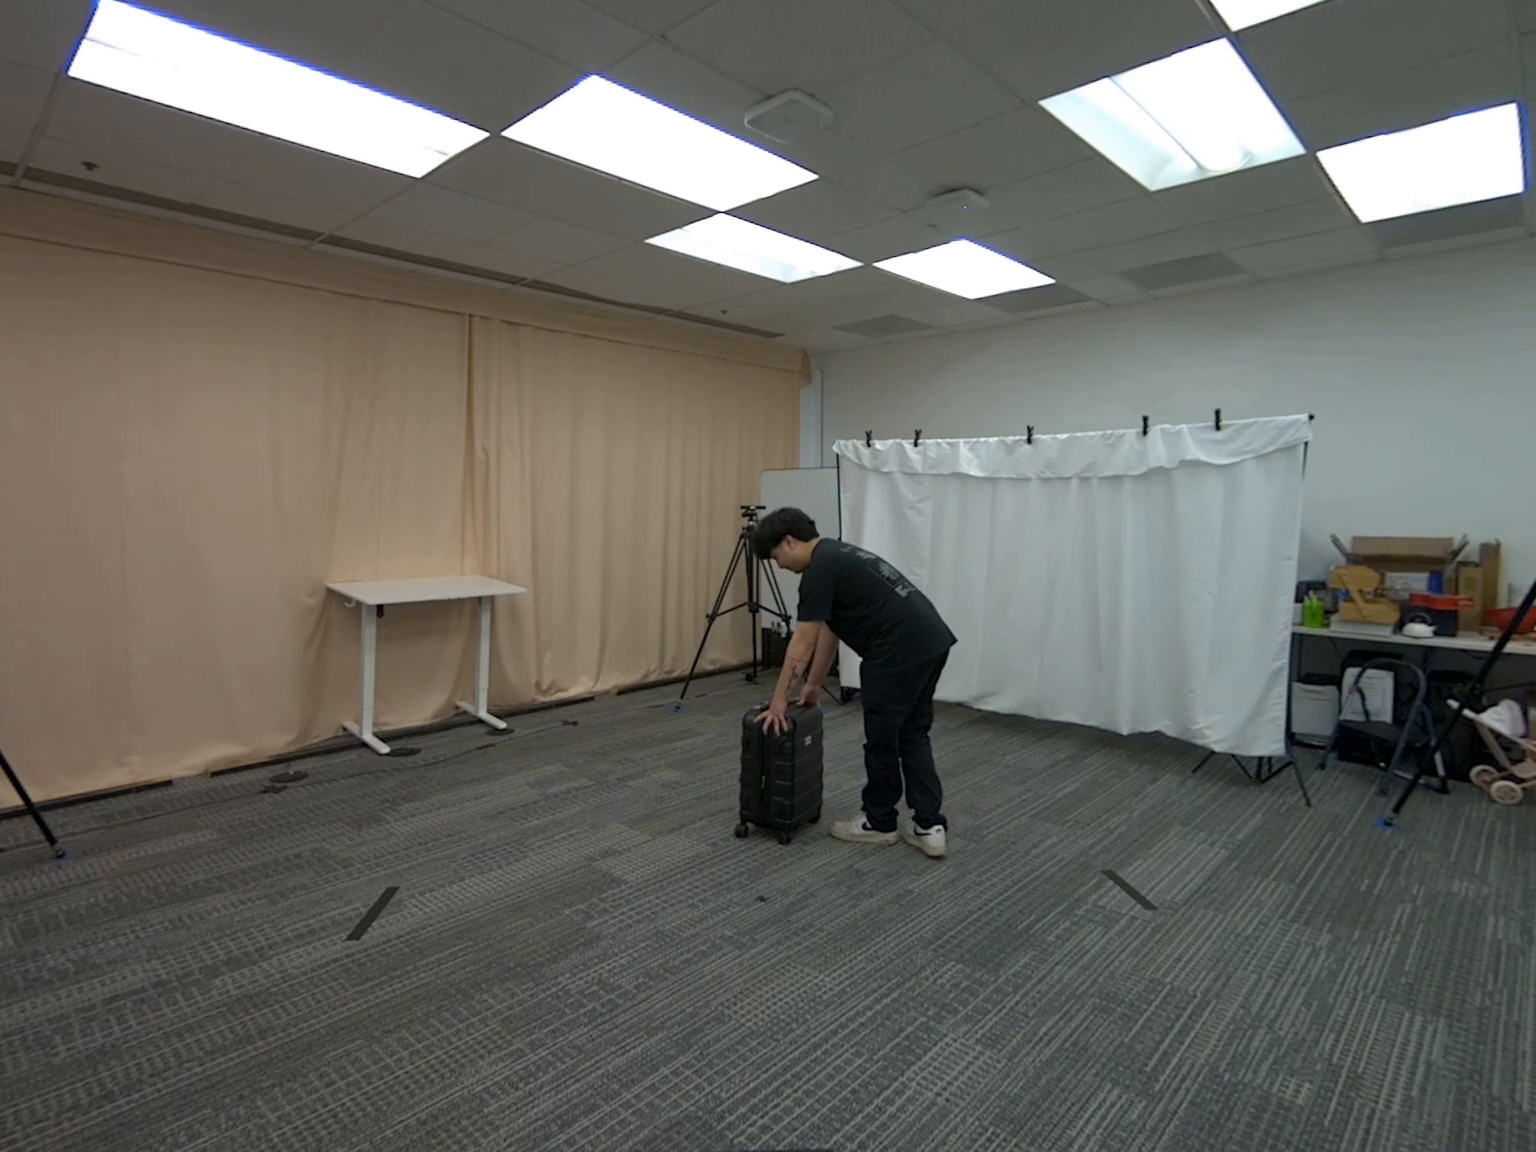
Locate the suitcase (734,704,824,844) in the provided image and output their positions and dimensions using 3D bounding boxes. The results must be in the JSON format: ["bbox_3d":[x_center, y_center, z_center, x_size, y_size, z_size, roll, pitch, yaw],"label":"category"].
[{"bbox_3d":[0.064,0.819,3.623,0.255,0.548,0.365,3,3,29],"label":"suitcase"}]
